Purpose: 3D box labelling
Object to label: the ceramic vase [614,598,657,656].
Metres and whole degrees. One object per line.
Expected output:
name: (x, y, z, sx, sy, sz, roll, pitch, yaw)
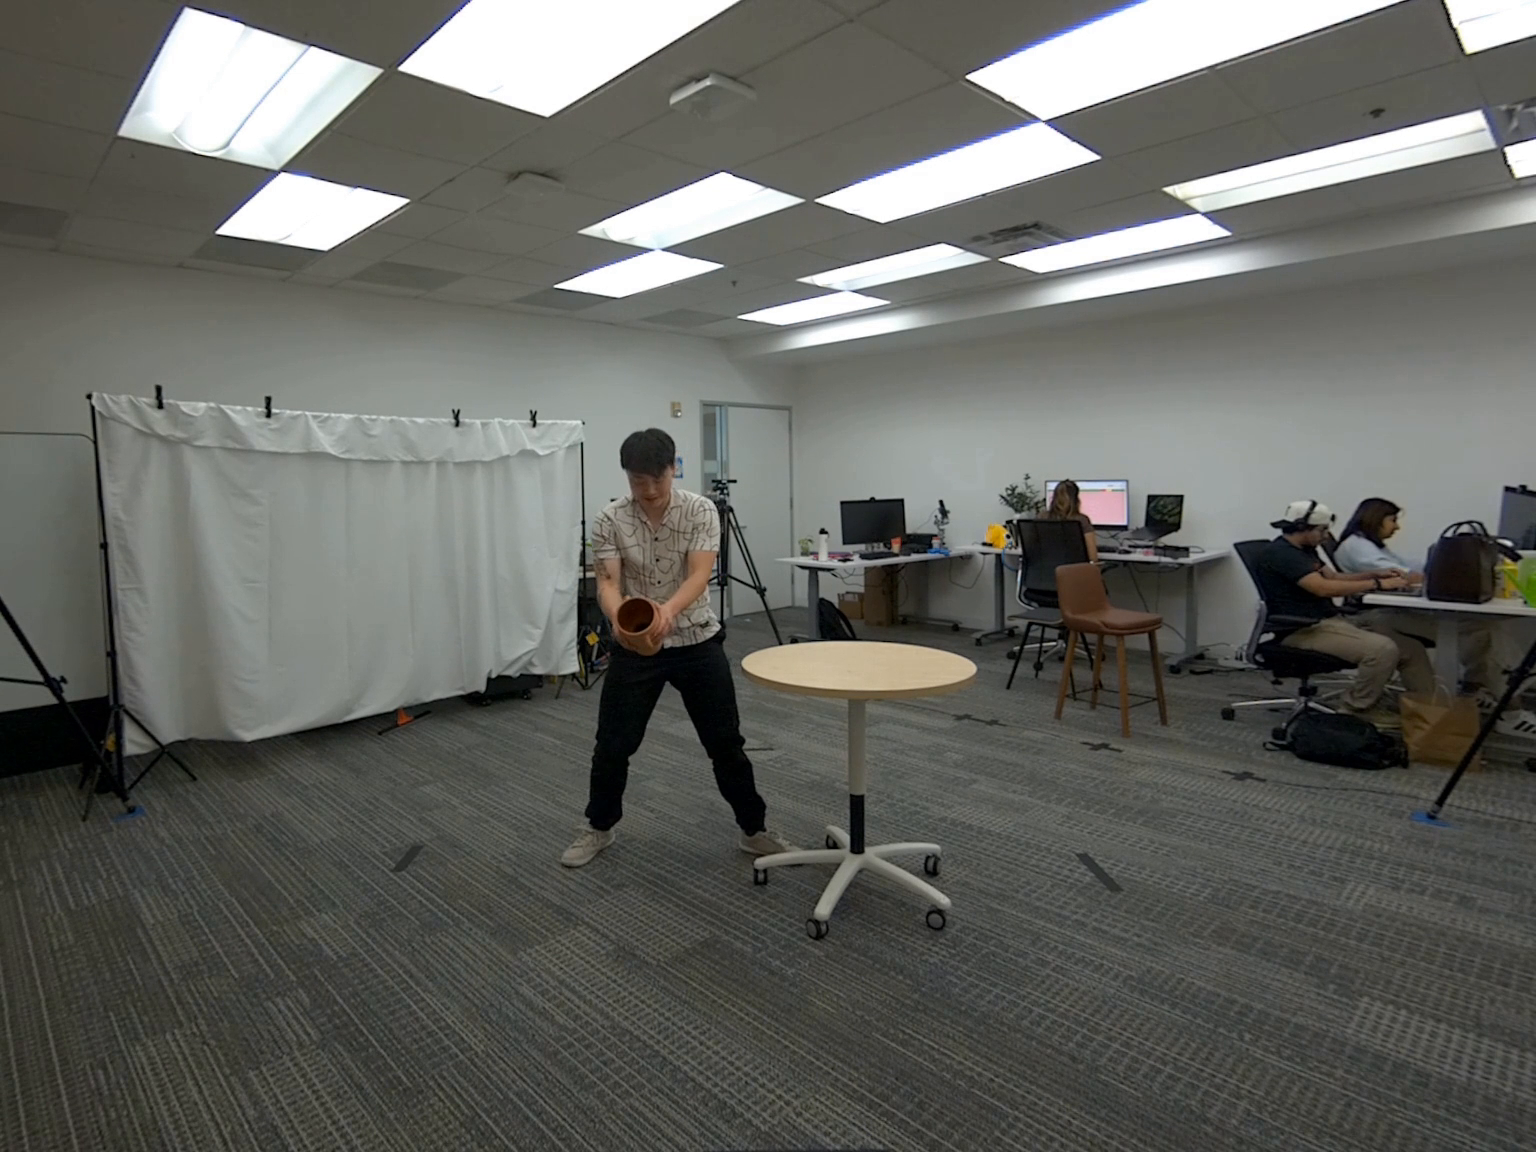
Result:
ceramic vase: (-0.409, 0.176, 2.753, 0.136, 0.161, 0.214, 13, -26, 10)
